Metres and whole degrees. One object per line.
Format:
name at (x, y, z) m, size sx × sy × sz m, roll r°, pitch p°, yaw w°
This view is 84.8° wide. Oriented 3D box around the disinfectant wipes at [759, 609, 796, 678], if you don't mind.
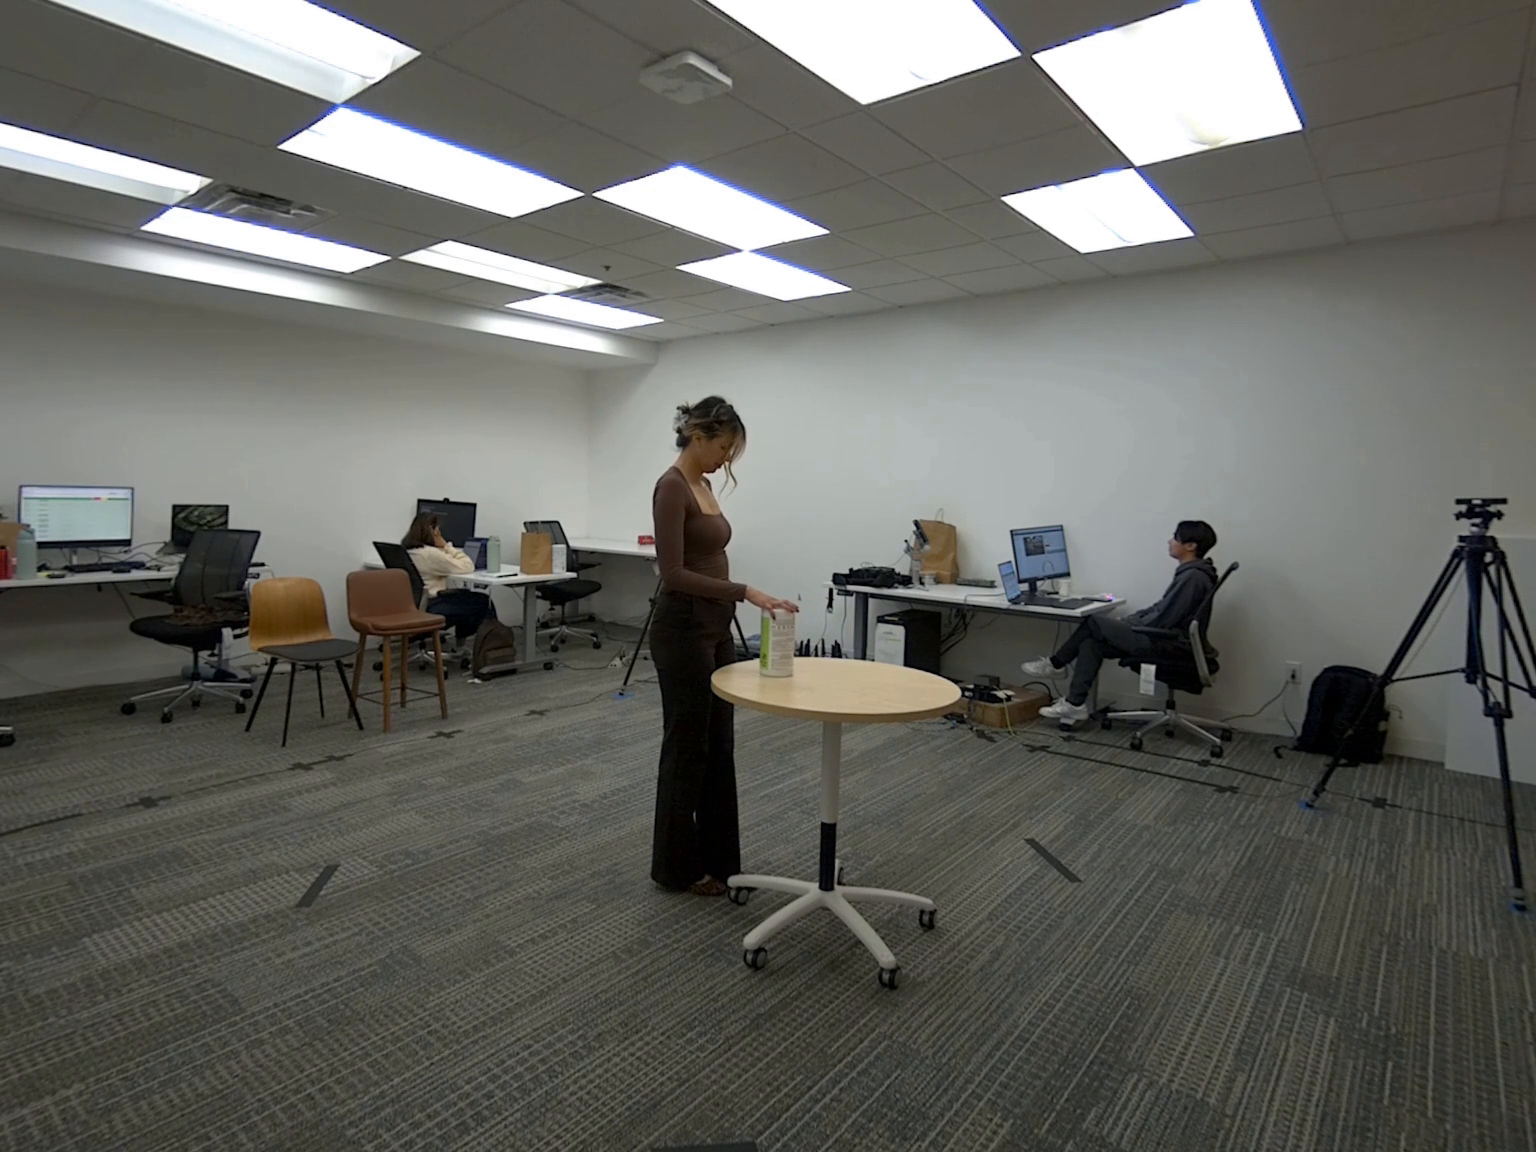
disinfectant wipes at (0.024, 0.207, 2.730) m, size 0.118 × 0.217 × 0.118 m, roll -2°, pitch 2°, yaw -2°
